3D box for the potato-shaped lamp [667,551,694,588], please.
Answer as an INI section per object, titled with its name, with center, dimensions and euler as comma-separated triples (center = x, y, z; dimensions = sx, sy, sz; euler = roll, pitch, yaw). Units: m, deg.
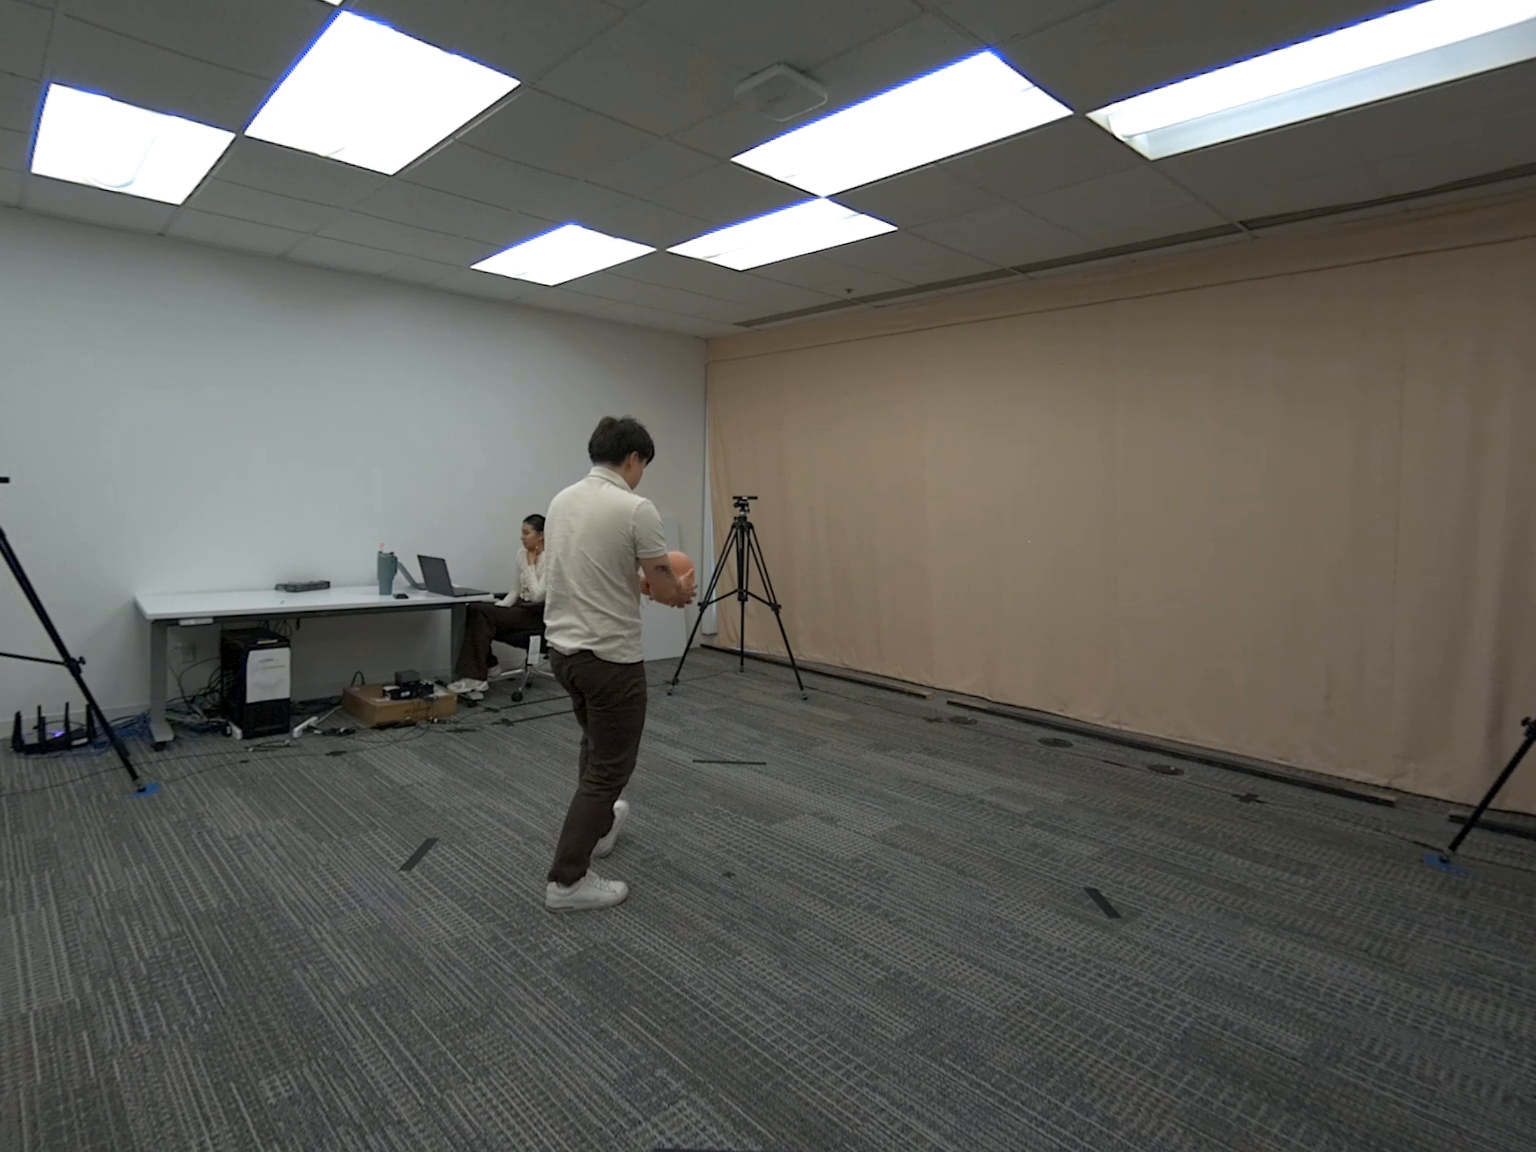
[potato-shaped lamp]
center = -0.378, 0.011, 3.193
dimensions = 0.169, 0.196, 0.169
euler = 14, 16, 28
